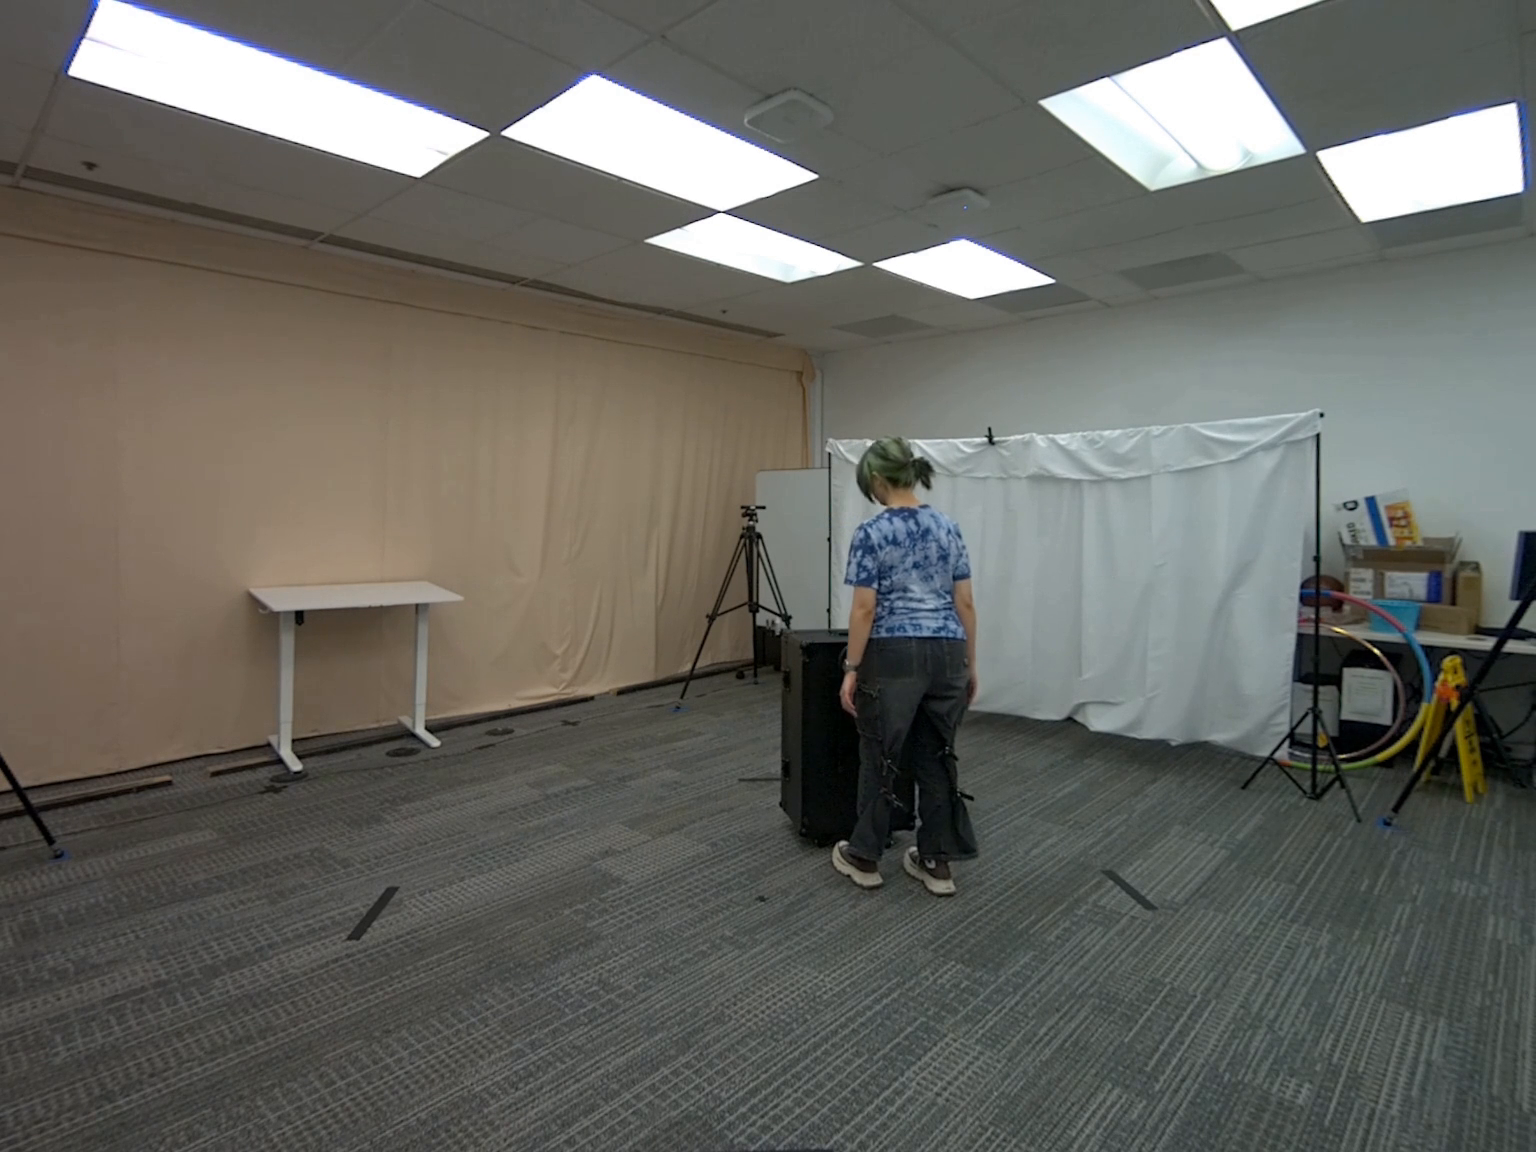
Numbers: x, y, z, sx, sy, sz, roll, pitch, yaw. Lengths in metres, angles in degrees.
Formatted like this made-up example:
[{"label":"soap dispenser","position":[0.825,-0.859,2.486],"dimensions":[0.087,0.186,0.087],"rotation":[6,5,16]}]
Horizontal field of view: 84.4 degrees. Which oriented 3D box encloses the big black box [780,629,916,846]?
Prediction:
[{"label":"big black box","position":[0.336,0.671,3.540],"dimensions":[0.516,0.859,0.401],"rotation":[0,4,-9]}]
